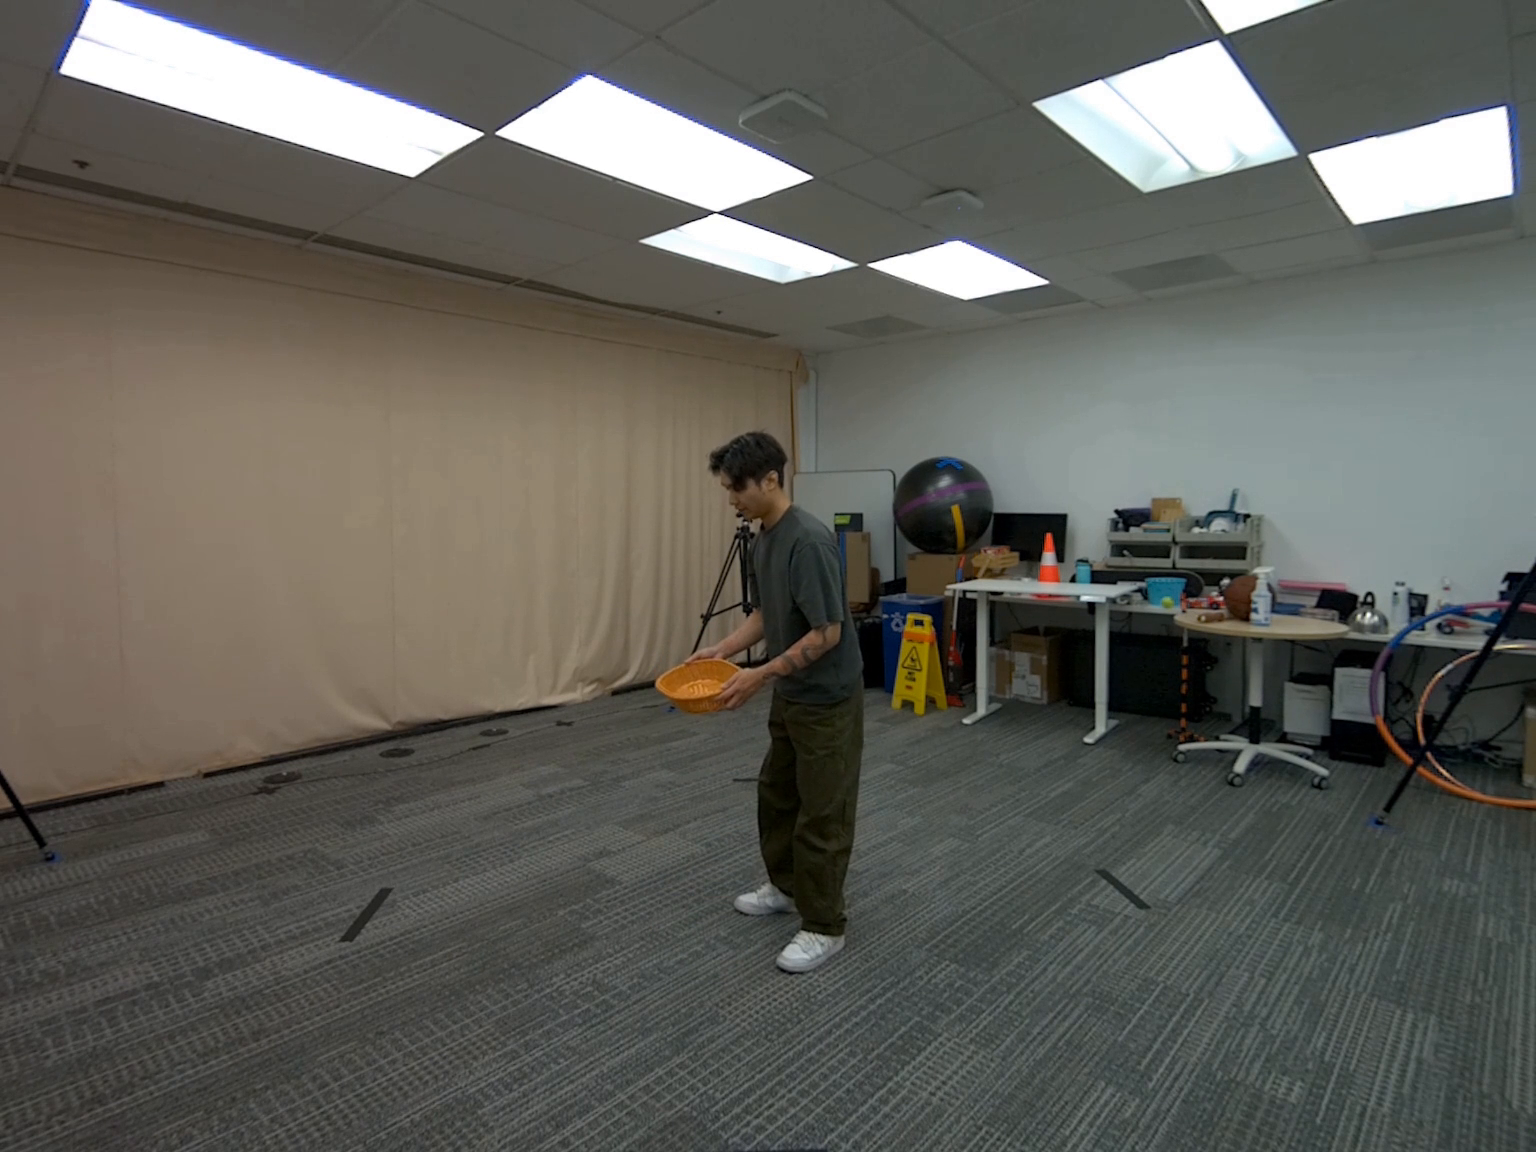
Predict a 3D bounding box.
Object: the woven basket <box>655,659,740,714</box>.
[{"bbox_3d":[-0.208,0.349,2.616,0.249,0.073,0.359,-17,12,-18],"label":"woven basket"}]
